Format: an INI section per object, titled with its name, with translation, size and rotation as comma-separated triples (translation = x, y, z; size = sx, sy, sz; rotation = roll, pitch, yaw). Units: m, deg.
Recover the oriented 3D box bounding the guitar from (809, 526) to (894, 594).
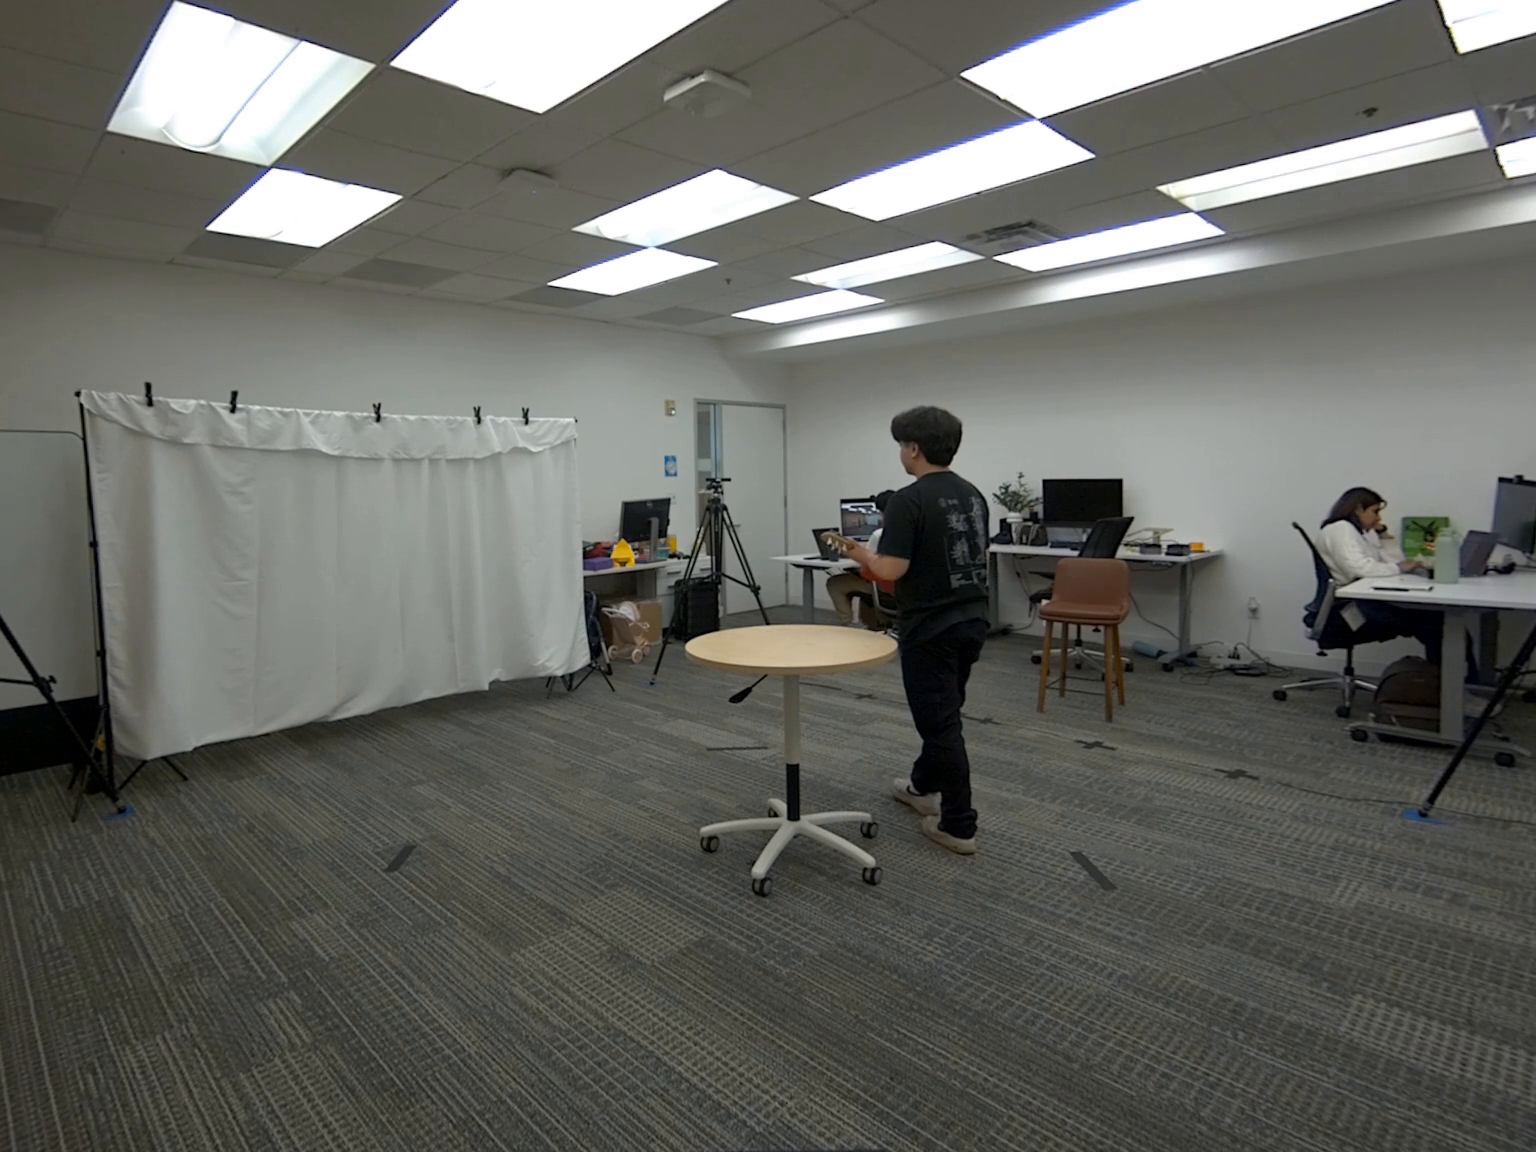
[guitar]
translation = 0.434, -0.051, 3.519
size = 0.488, 0.072, 0.193
rotation = 20, -33, -18
